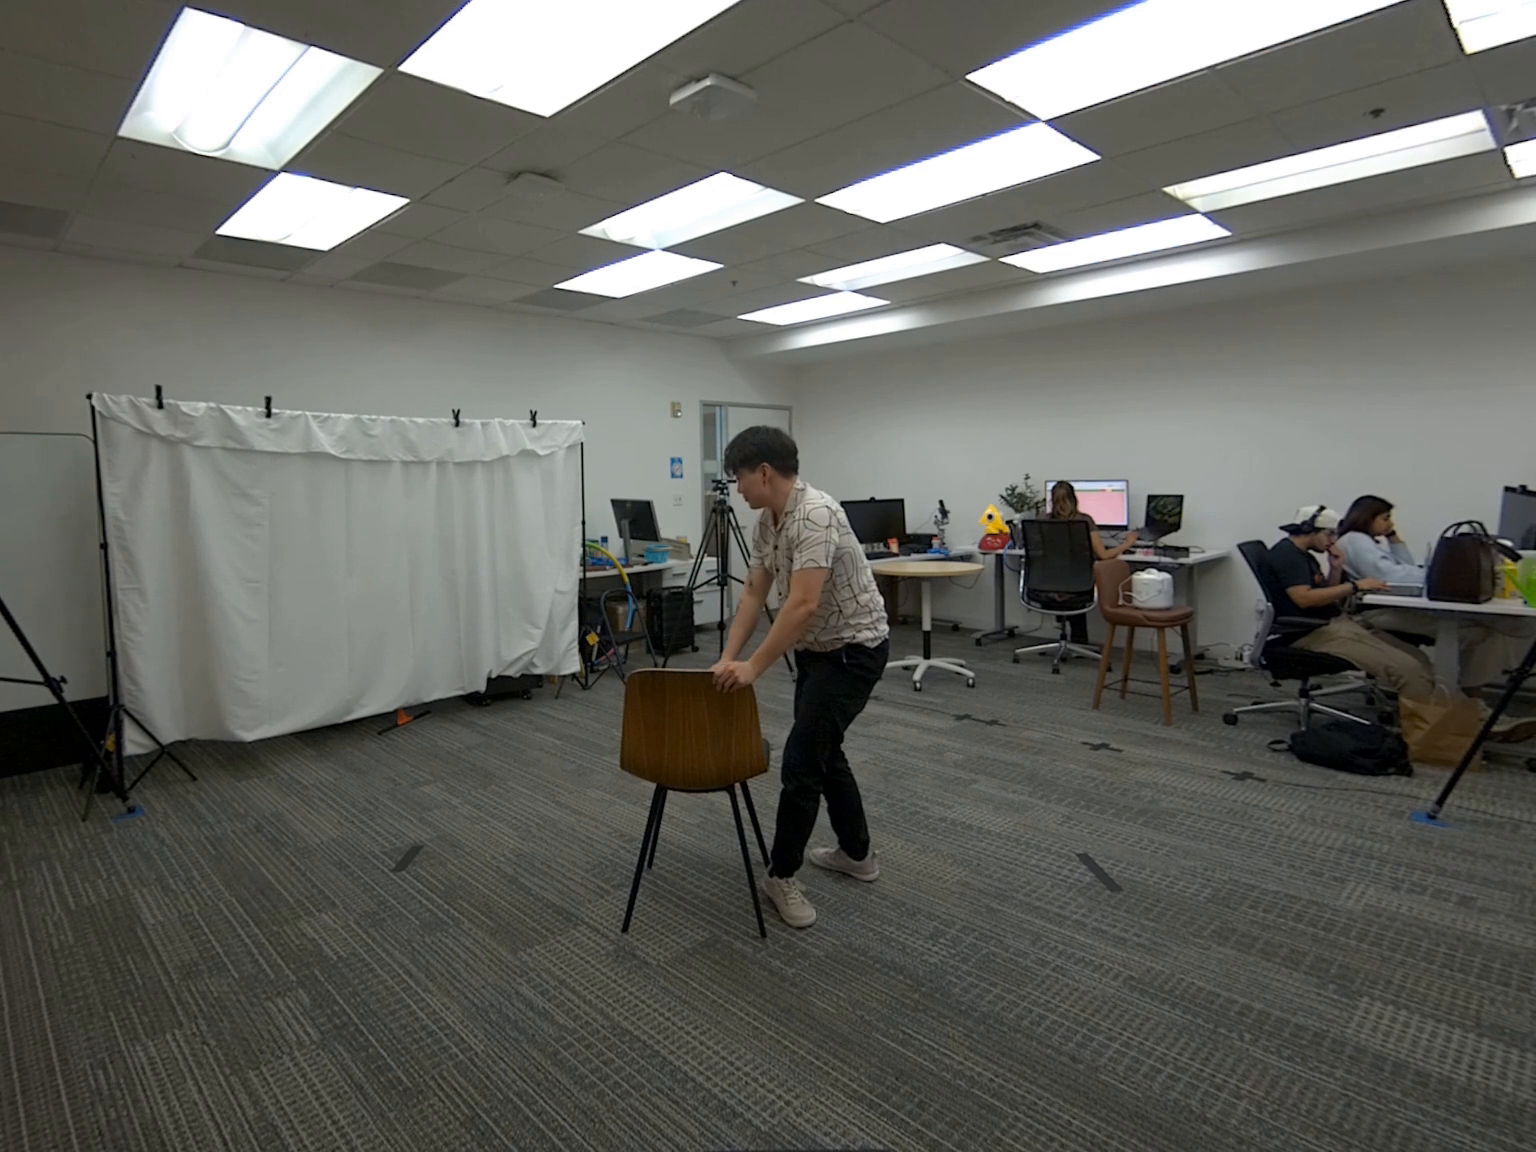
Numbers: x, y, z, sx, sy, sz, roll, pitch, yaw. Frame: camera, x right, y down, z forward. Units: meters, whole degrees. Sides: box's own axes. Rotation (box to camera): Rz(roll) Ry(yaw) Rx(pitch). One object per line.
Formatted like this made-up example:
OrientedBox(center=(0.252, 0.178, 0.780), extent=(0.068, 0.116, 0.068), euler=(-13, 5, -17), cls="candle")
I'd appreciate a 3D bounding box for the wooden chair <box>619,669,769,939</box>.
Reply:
OrientedBox(center=(-0.223, 0.653, 2.823), extent=(0.480, 0.871, 0.525), euler=(-1, 8, 4), cls="wooden chair")
